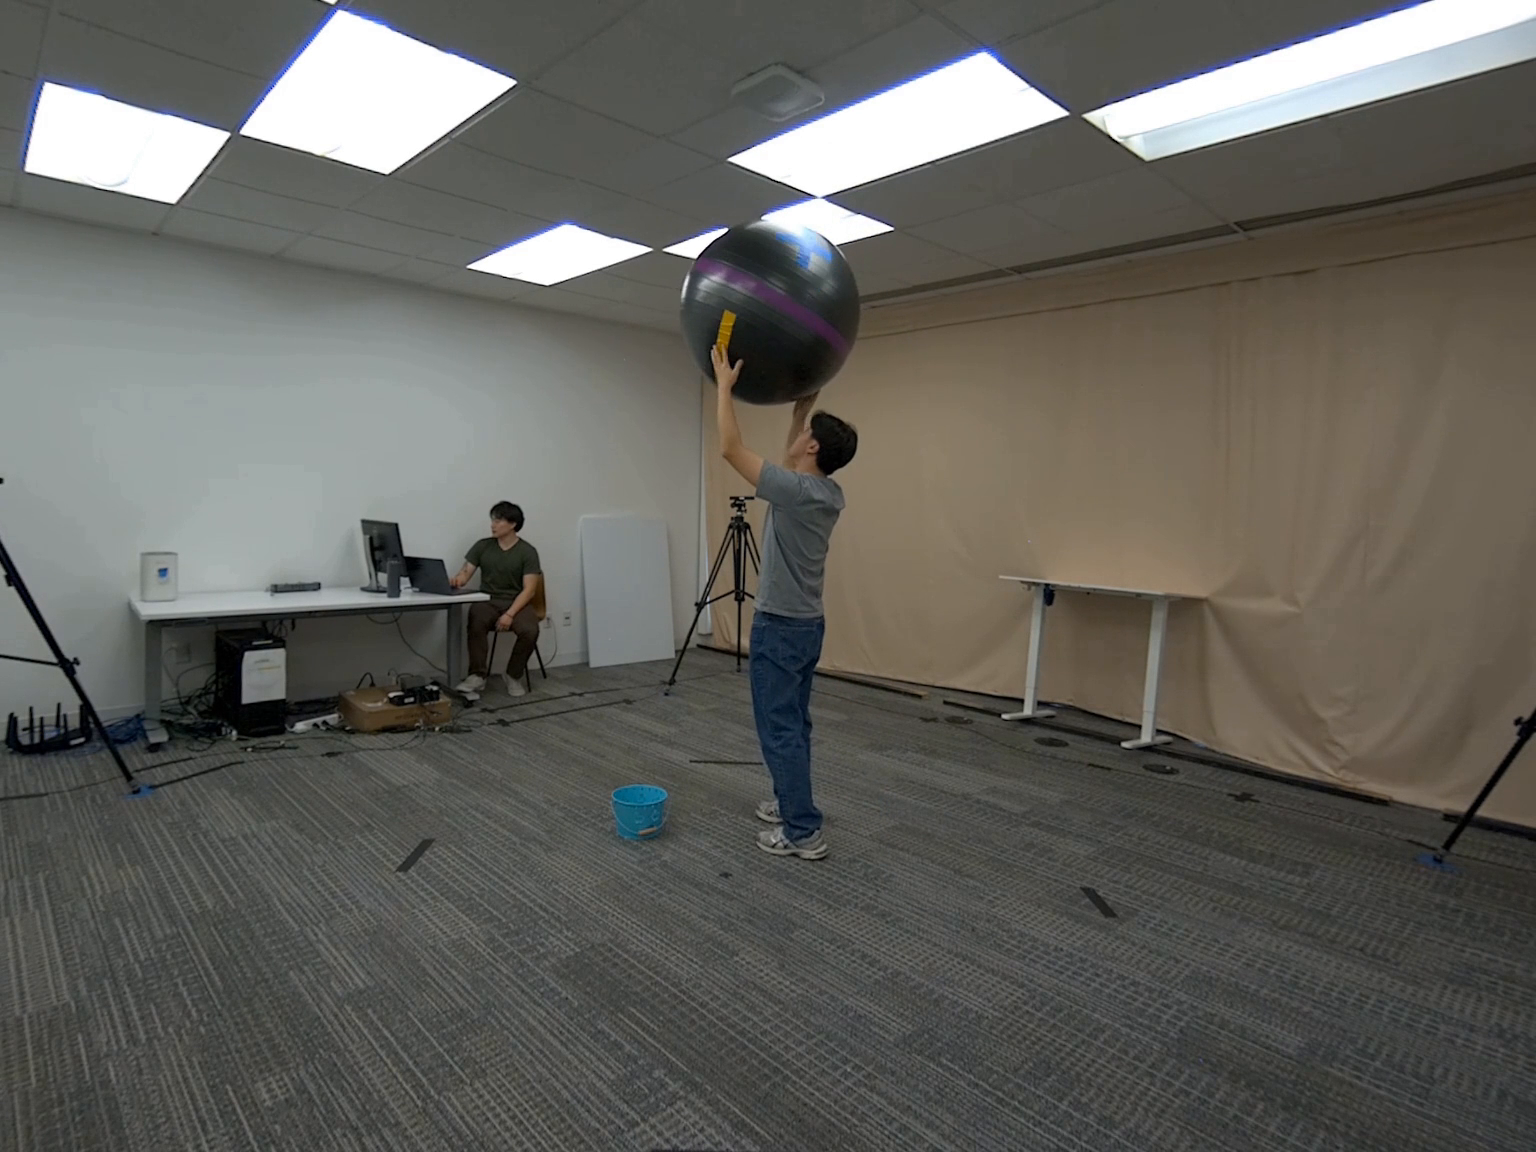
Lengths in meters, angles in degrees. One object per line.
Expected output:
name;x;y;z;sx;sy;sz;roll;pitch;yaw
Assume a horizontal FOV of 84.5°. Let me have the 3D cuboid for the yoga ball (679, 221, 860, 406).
yoga ball;0.006;-1.101;3.549;0.757;0.756;0.761;1;4;-1
